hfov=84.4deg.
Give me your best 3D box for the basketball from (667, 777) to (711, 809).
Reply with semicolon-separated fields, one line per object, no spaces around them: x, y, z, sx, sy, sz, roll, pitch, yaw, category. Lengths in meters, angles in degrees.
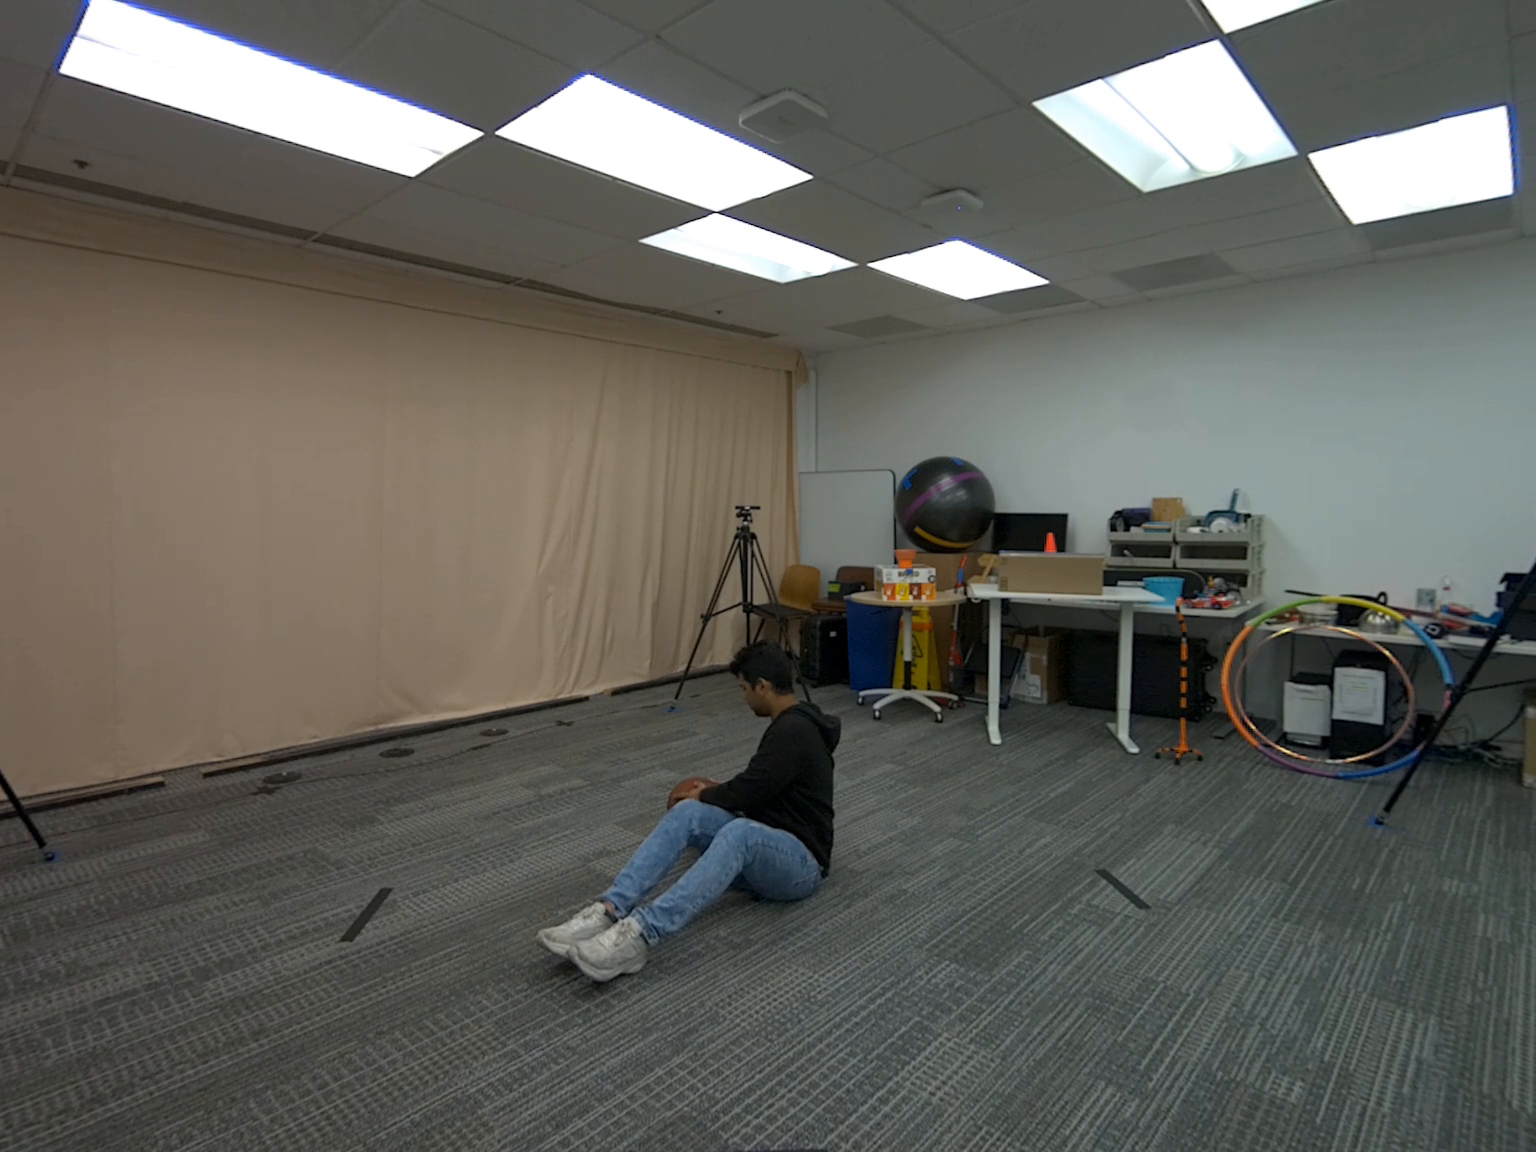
-0.293;0.932;3.399;0.236;0.235;0.237;0;4;-2;basketball
